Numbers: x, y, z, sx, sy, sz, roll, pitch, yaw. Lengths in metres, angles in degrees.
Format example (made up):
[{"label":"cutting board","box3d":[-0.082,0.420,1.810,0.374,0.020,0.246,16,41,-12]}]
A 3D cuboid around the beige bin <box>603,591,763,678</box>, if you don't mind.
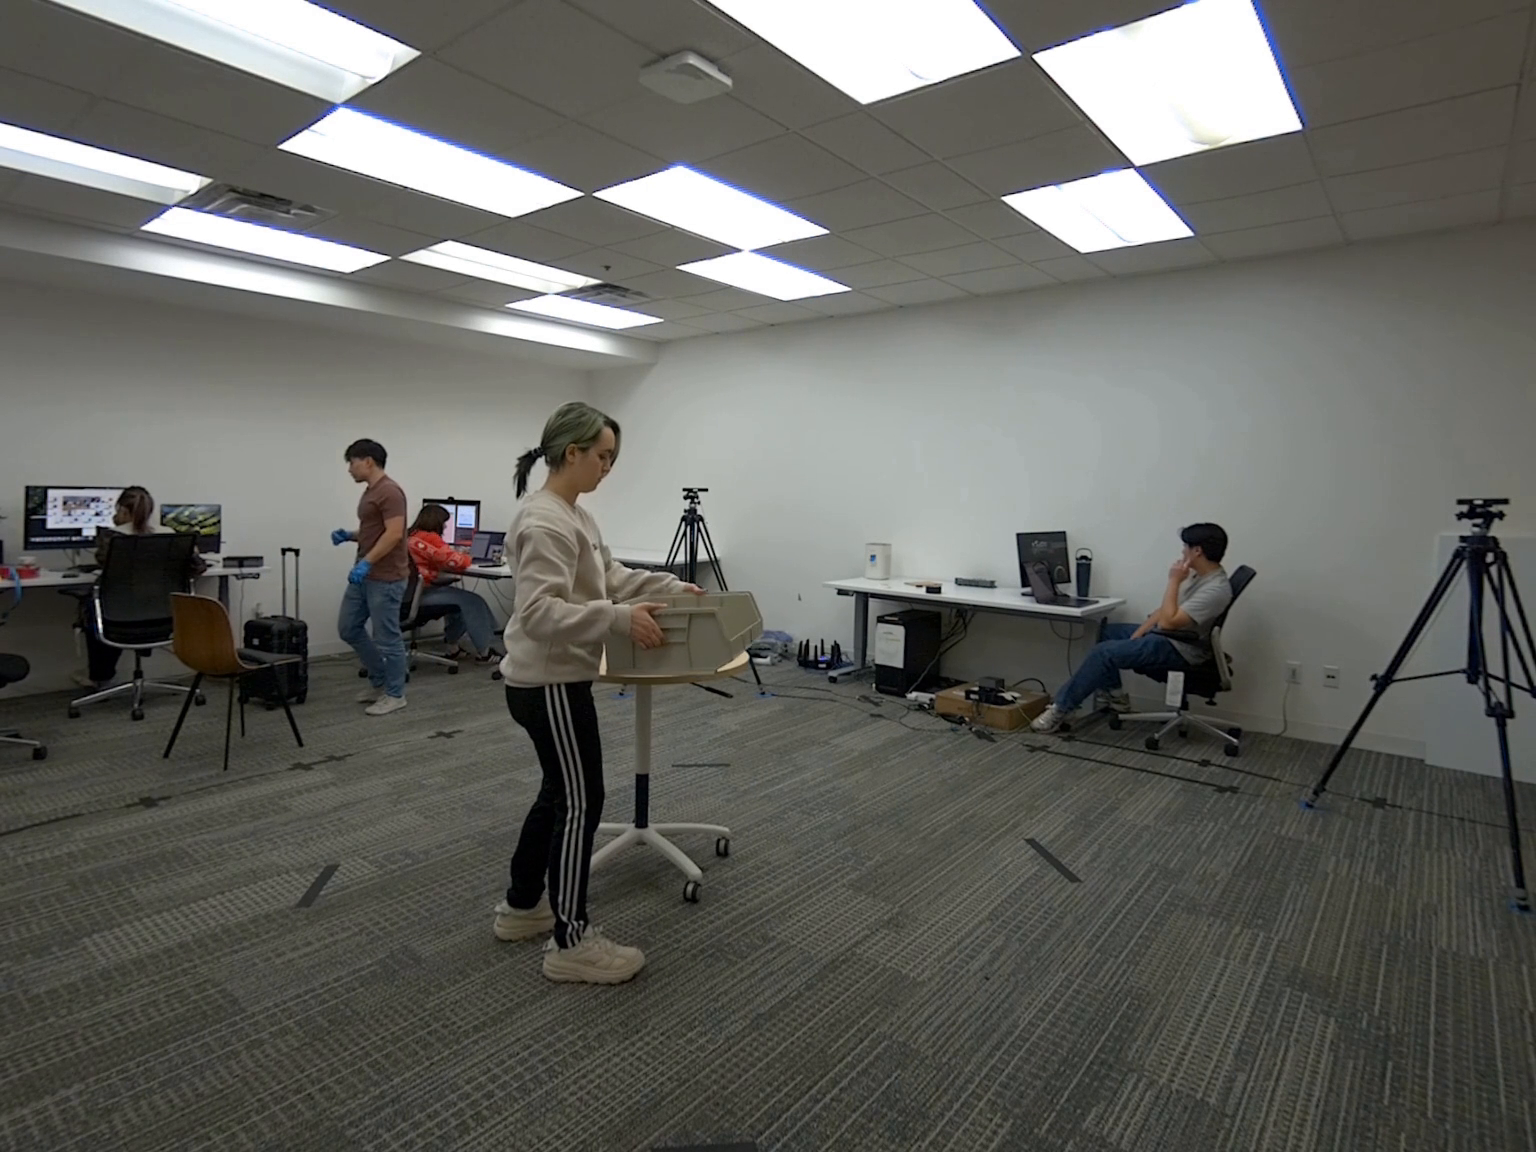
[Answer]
[{"label":"beige bin","box3d":[-0.247,0.164,2.480,0.382,0.188,0.419,-3,6,12]}]
